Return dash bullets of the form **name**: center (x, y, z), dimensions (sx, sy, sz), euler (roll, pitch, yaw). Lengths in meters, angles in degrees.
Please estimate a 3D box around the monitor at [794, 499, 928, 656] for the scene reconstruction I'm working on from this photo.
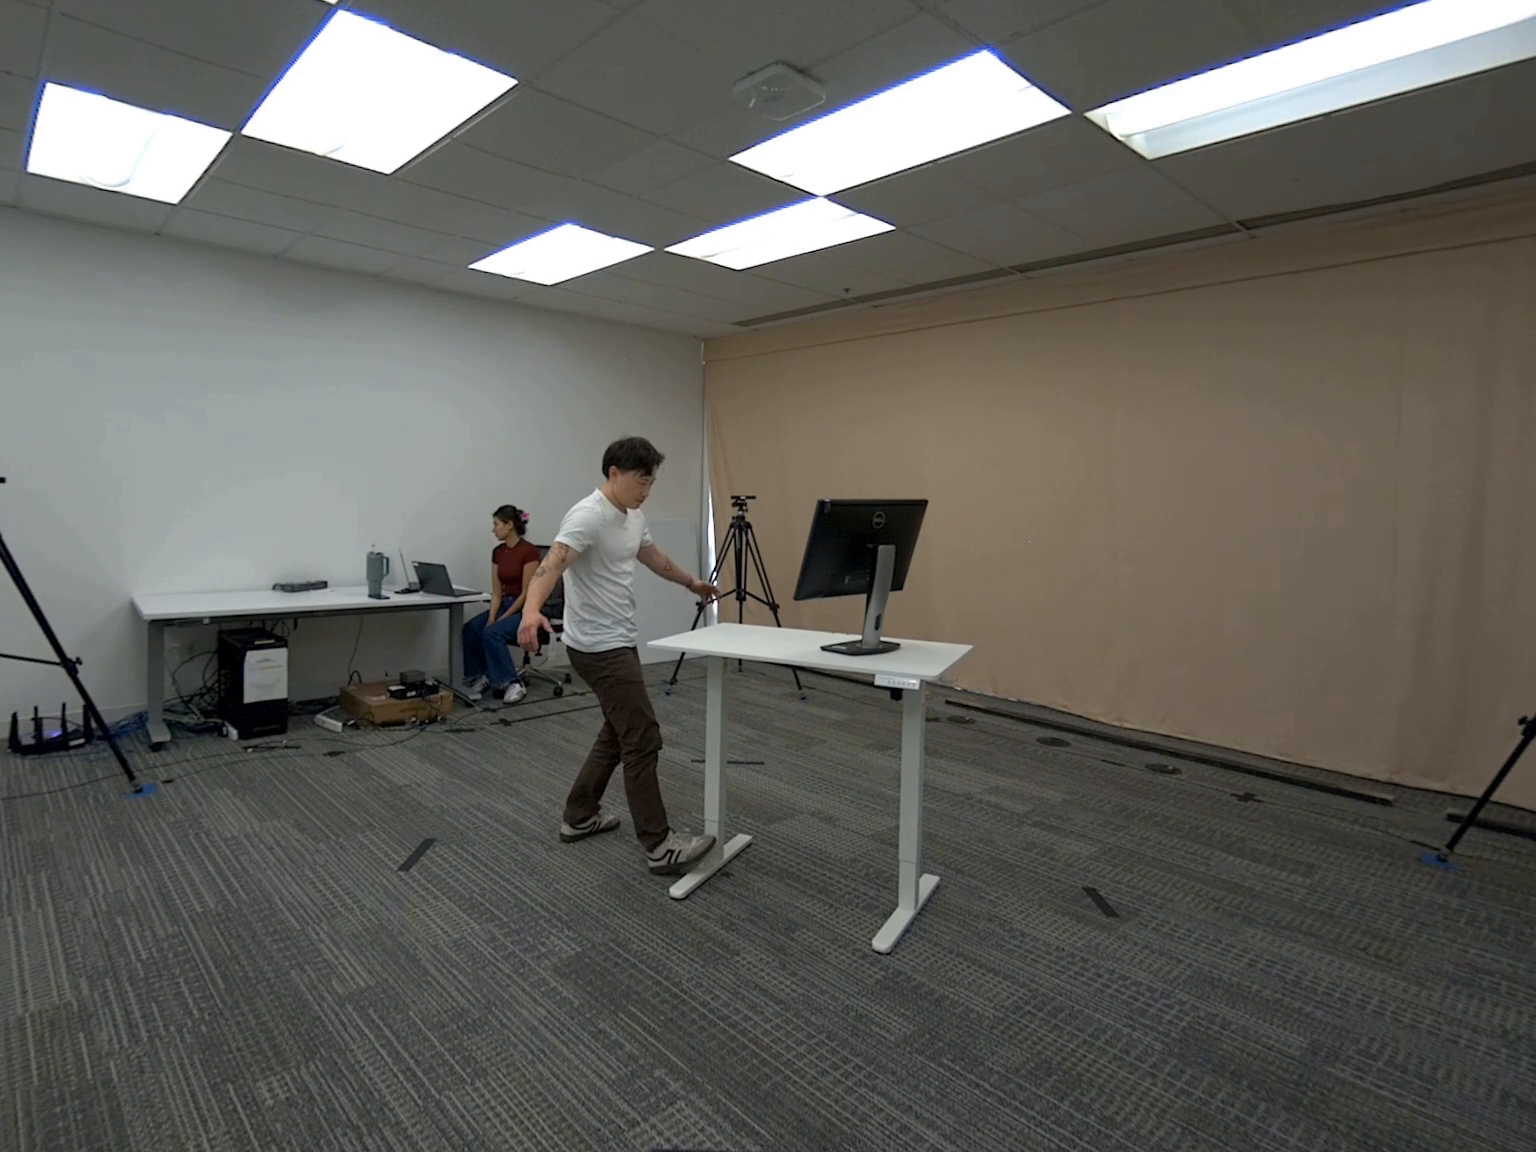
- **monitor**: center (0.339, 0.000, 2.859), dimensions (0.527, 0.520, 0.192), euler (-3, 10, -41)
